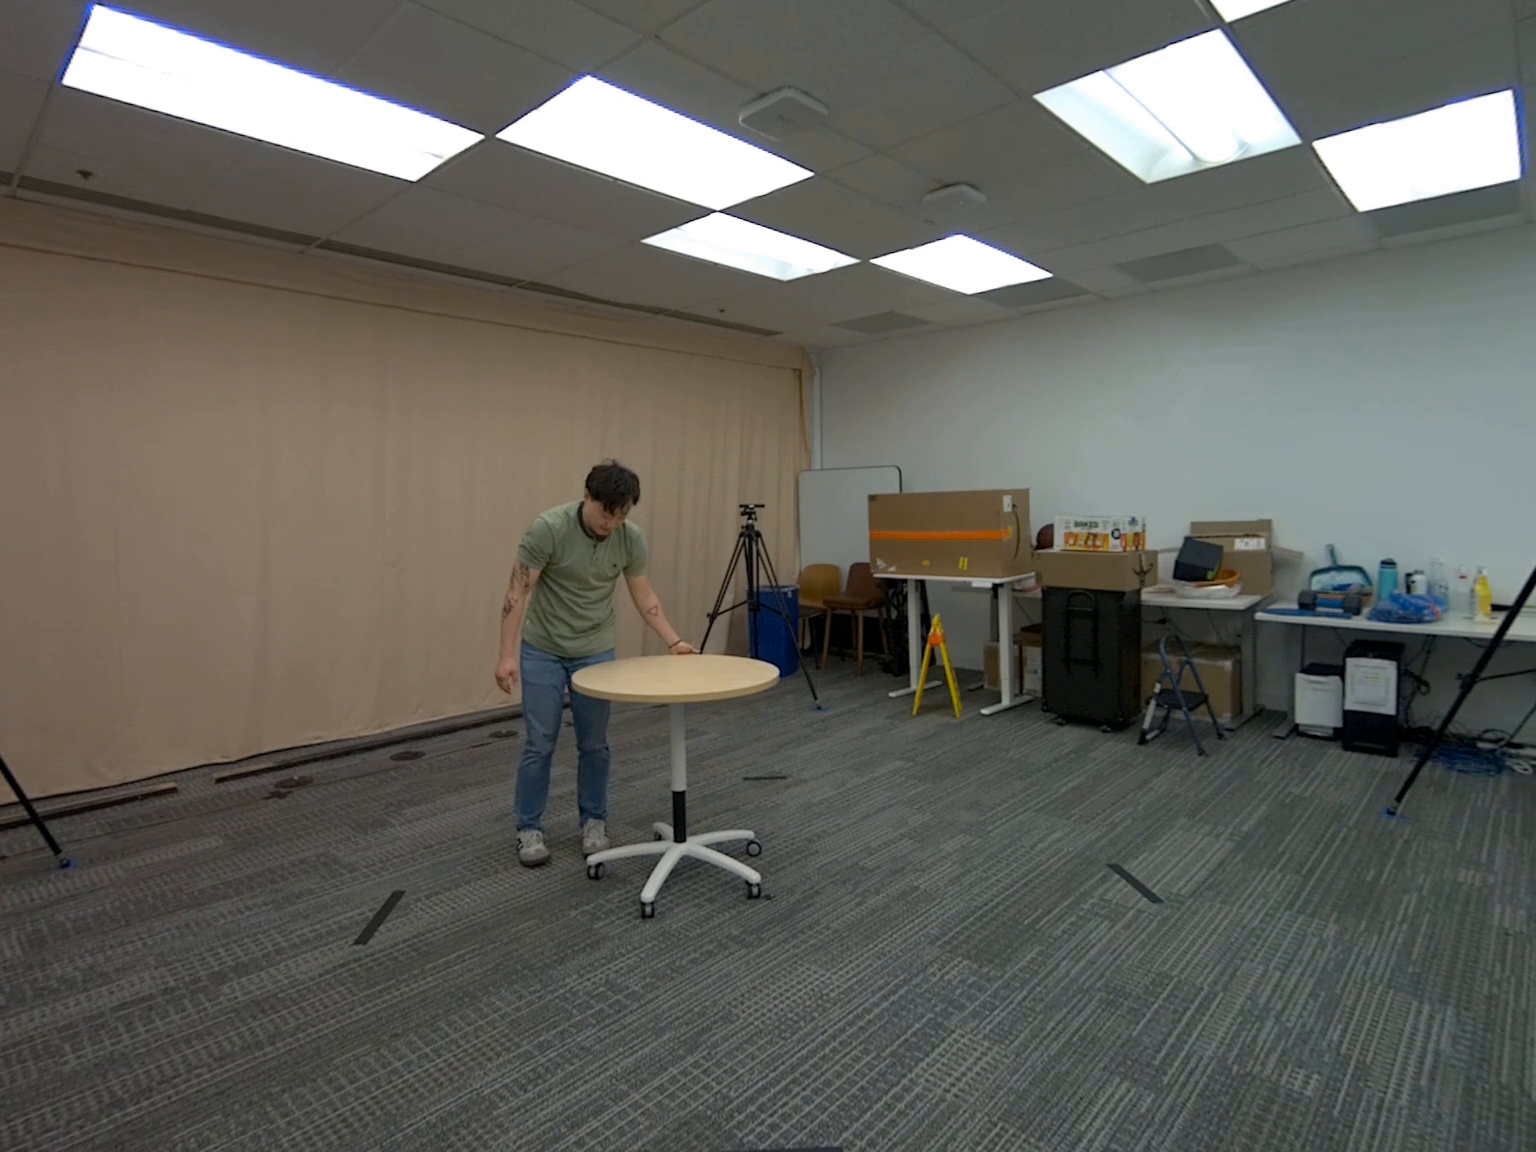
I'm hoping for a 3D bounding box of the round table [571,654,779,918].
[{"bbox_3d":[-0.328,0.746,3.139,0.763,0.792,0.766,-1,3,-2],"label":"round table"}]
